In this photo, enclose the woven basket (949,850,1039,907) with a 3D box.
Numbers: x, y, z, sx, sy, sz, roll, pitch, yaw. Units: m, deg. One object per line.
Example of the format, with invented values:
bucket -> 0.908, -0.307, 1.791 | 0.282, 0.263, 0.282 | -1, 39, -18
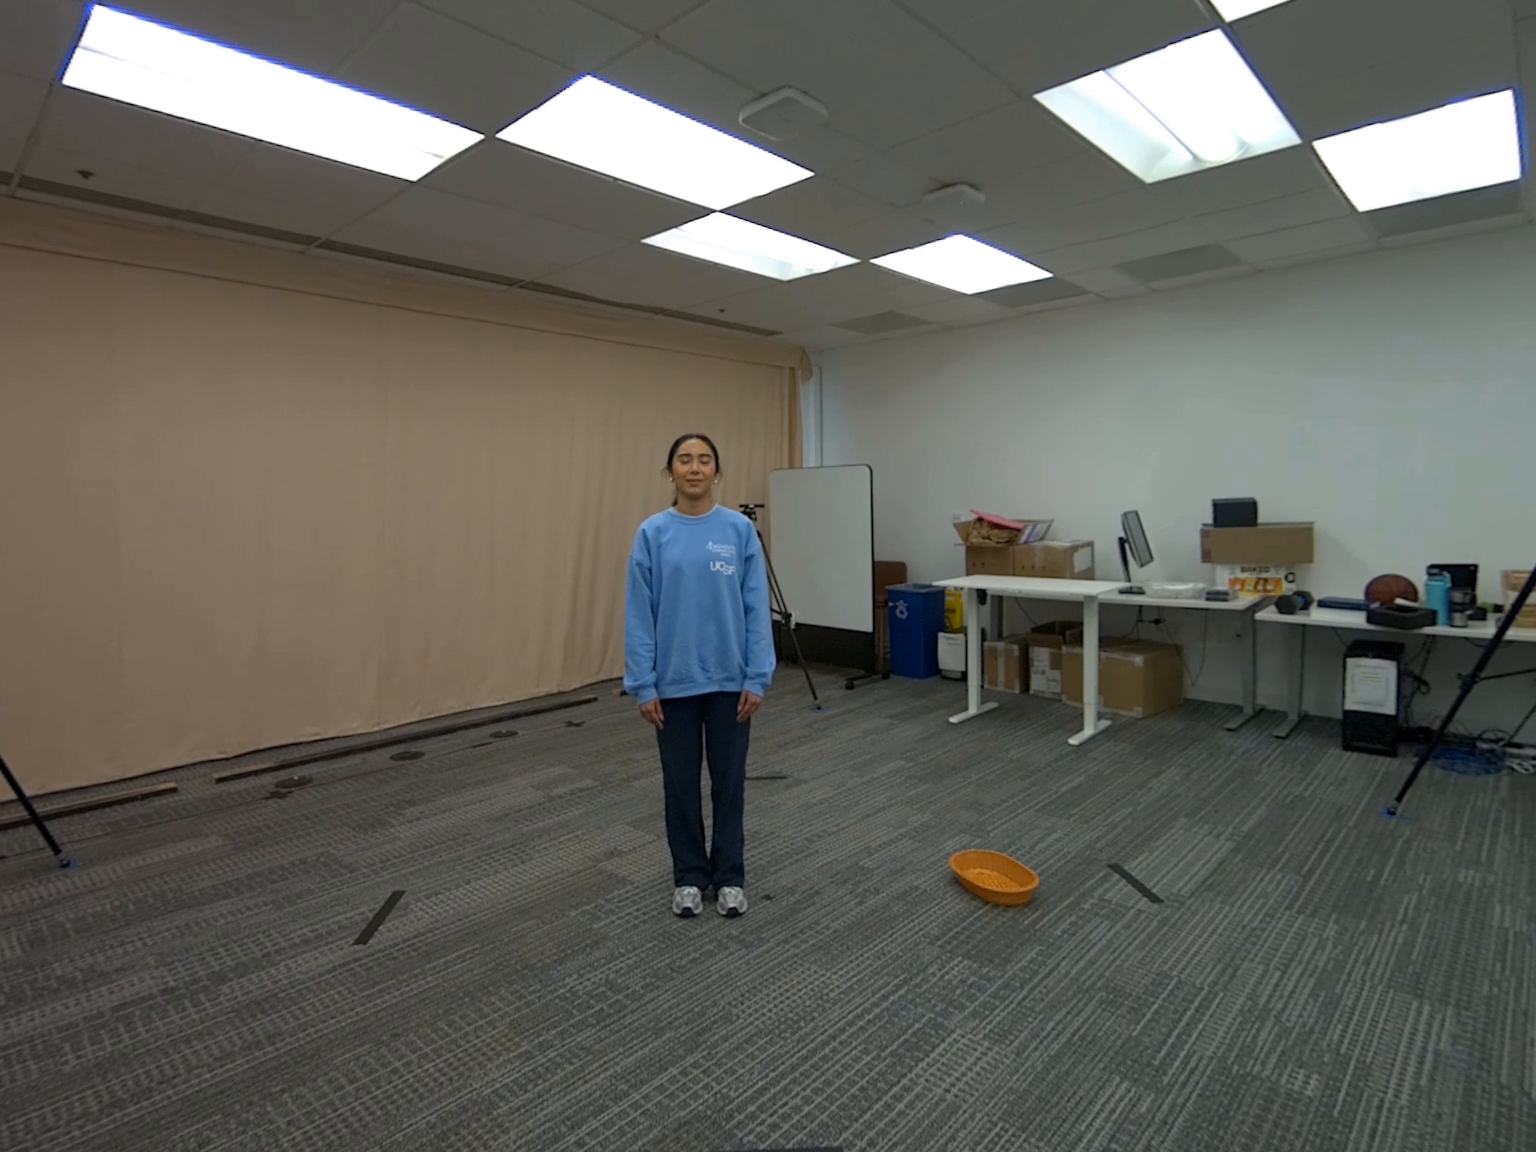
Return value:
woven basket -> 0.807, 1.085, 3.014 | 0.247, 0.073, 0.359 | -4, 6, -22
